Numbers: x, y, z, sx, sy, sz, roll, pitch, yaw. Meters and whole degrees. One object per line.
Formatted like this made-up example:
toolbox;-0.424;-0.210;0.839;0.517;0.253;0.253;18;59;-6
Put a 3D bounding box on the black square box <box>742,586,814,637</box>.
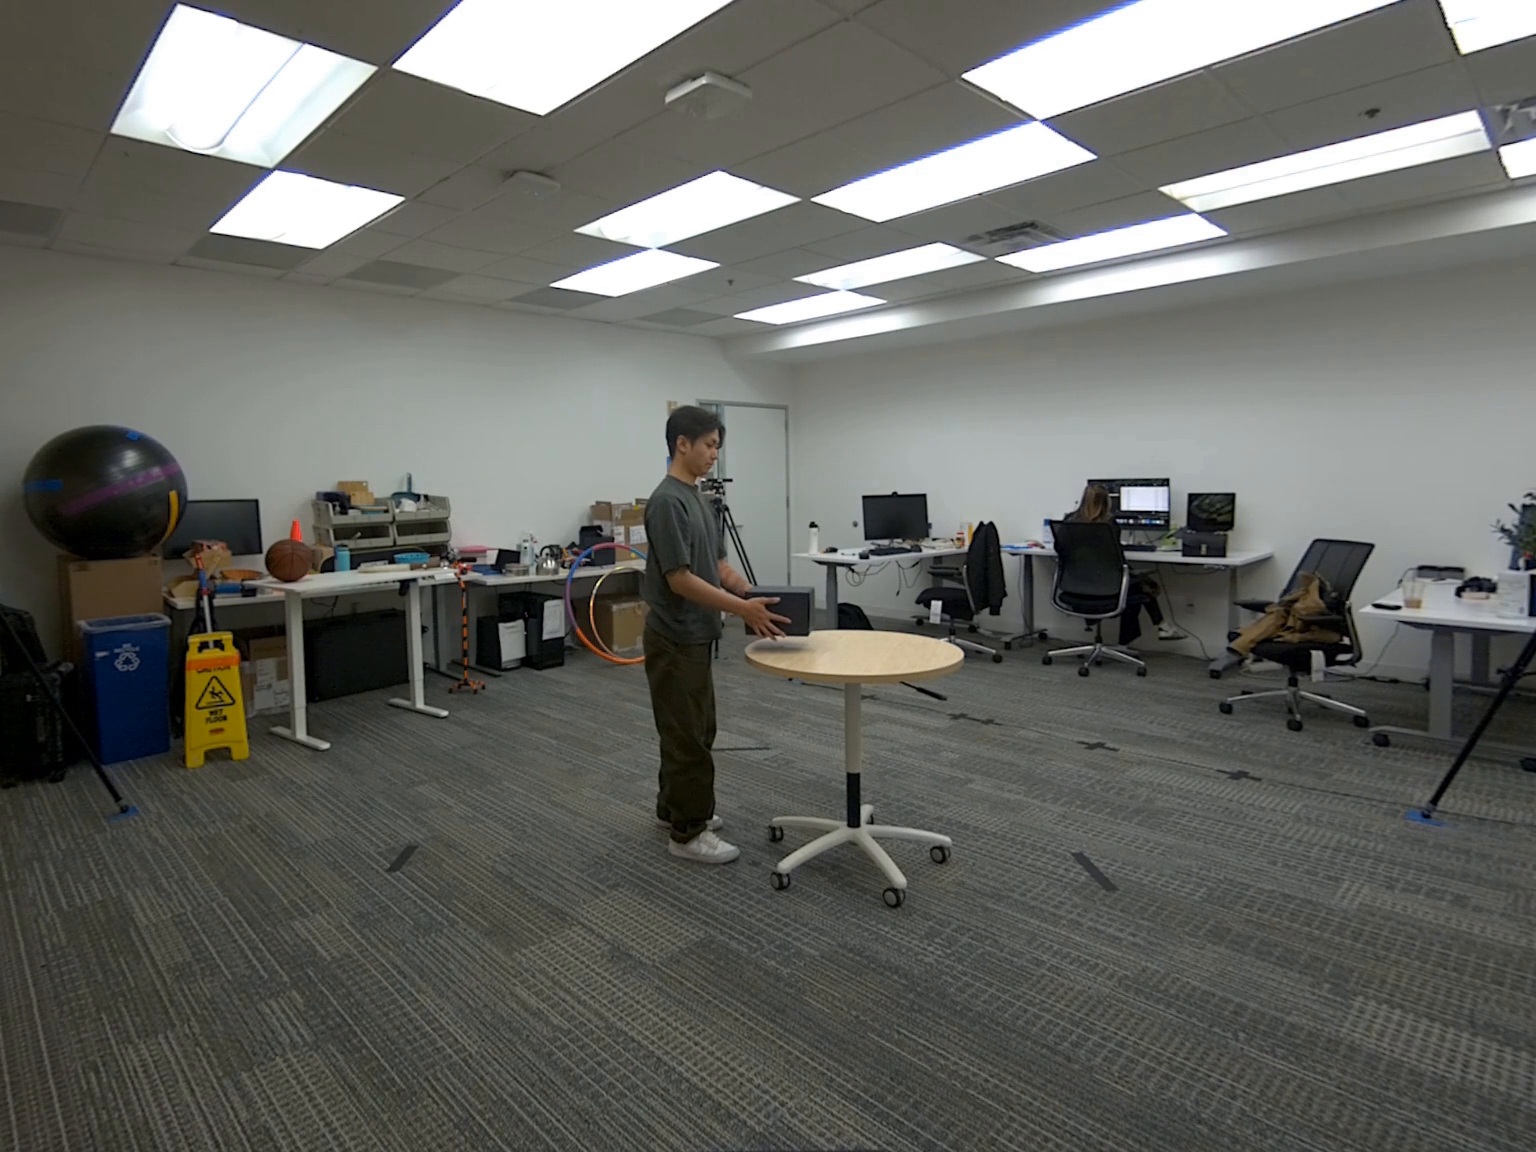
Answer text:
black square box;0.051;0.120;3.104;0.230;0.155;0.215;0;3;10
